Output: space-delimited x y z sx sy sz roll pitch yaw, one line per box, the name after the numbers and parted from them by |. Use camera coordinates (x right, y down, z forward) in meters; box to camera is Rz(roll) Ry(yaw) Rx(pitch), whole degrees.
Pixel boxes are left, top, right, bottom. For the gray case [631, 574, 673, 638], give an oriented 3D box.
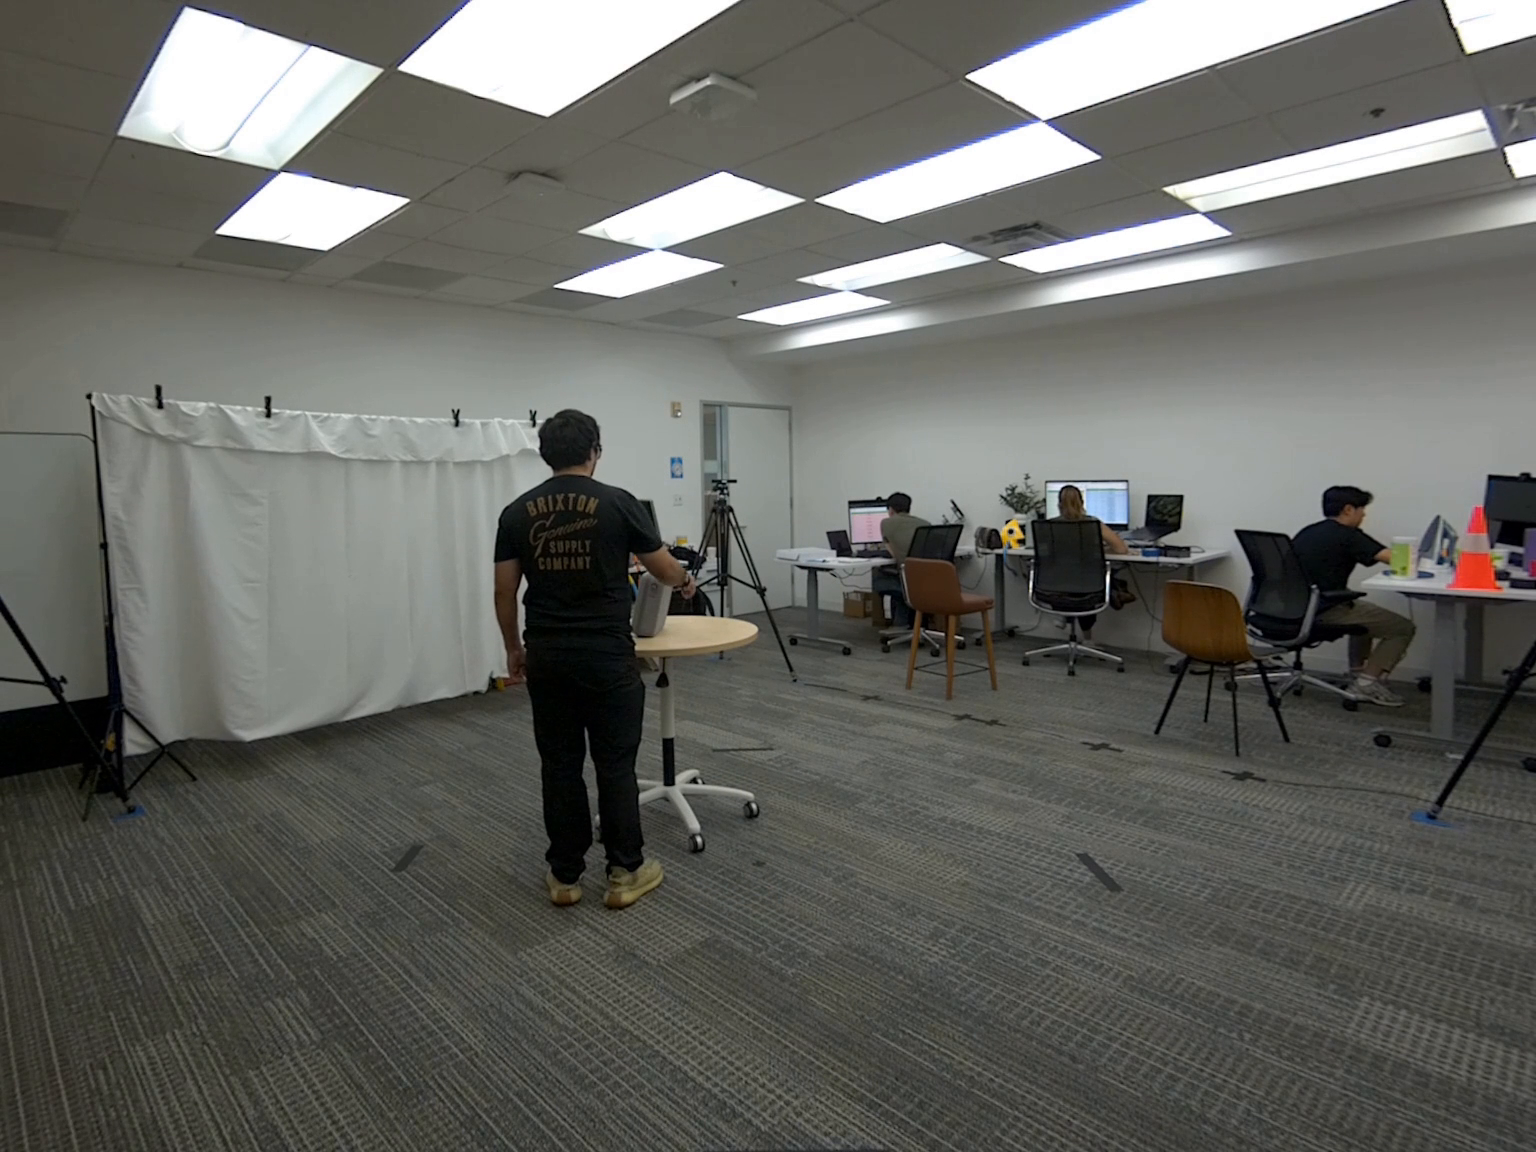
-0.470 0.106 3.482 0.105 0.259 0.257 9 7 3 | gray case
